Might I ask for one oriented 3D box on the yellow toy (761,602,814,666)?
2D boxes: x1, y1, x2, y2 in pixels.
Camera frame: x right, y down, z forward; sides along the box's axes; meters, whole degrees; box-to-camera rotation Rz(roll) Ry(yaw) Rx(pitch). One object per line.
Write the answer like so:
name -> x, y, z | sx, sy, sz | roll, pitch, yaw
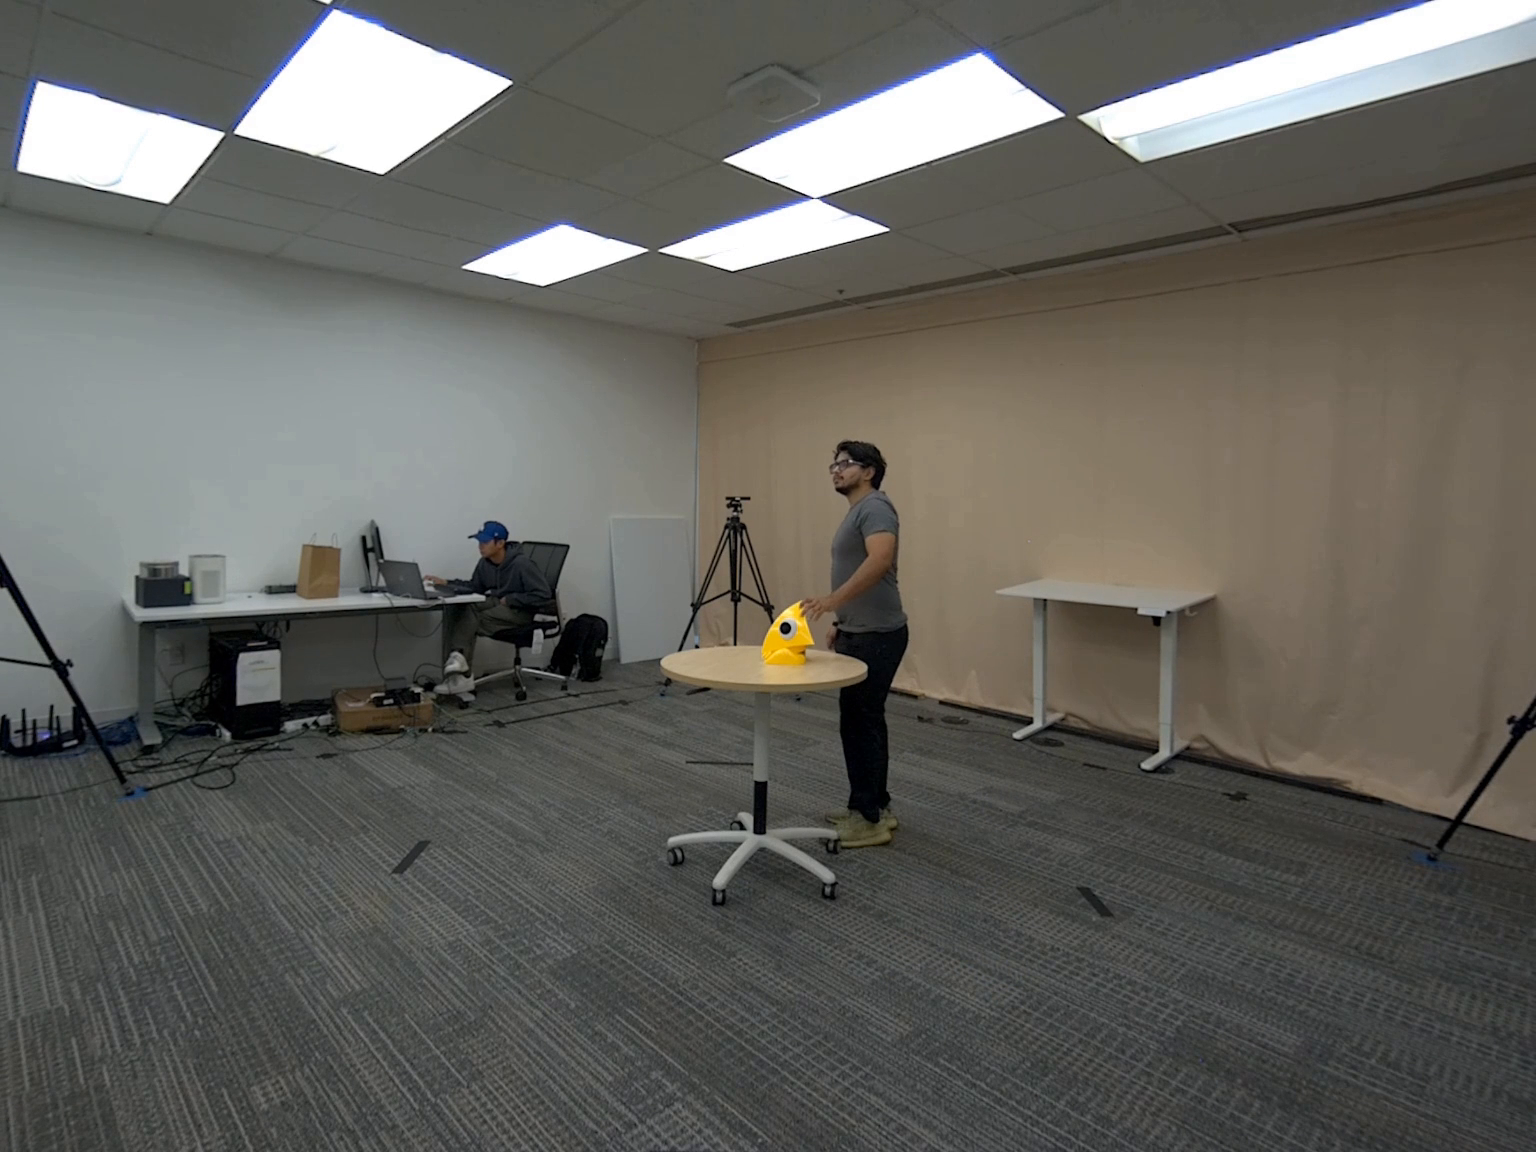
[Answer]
yellow toy -> 0.067, 0.206, 3.187 | 0.192, 0.230, 0.206 | 2, 4, -4
